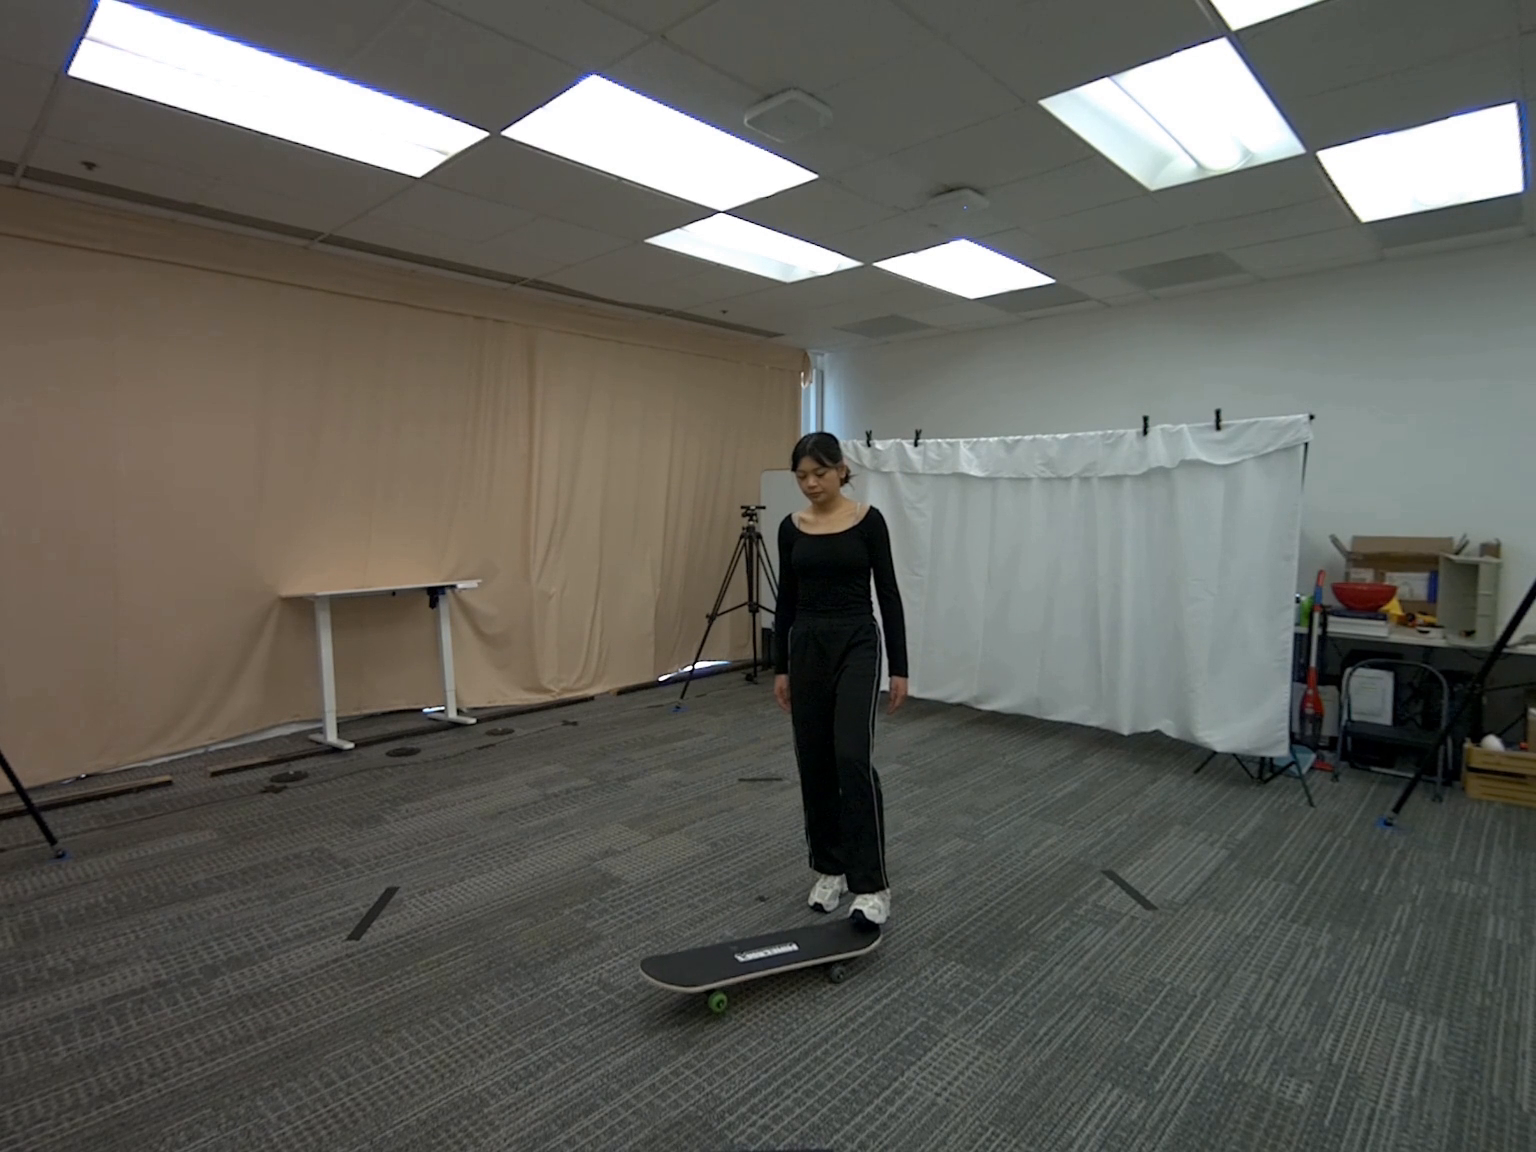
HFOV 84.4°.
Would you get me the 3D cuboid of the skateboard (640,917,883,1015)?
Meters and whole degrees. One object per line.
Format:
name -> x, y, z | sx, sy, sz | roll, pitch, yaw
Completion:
skateboard -> 0.000, 1.128, 2.430 | 0.764, 0.110, 0.199 | 2, 2, -28
